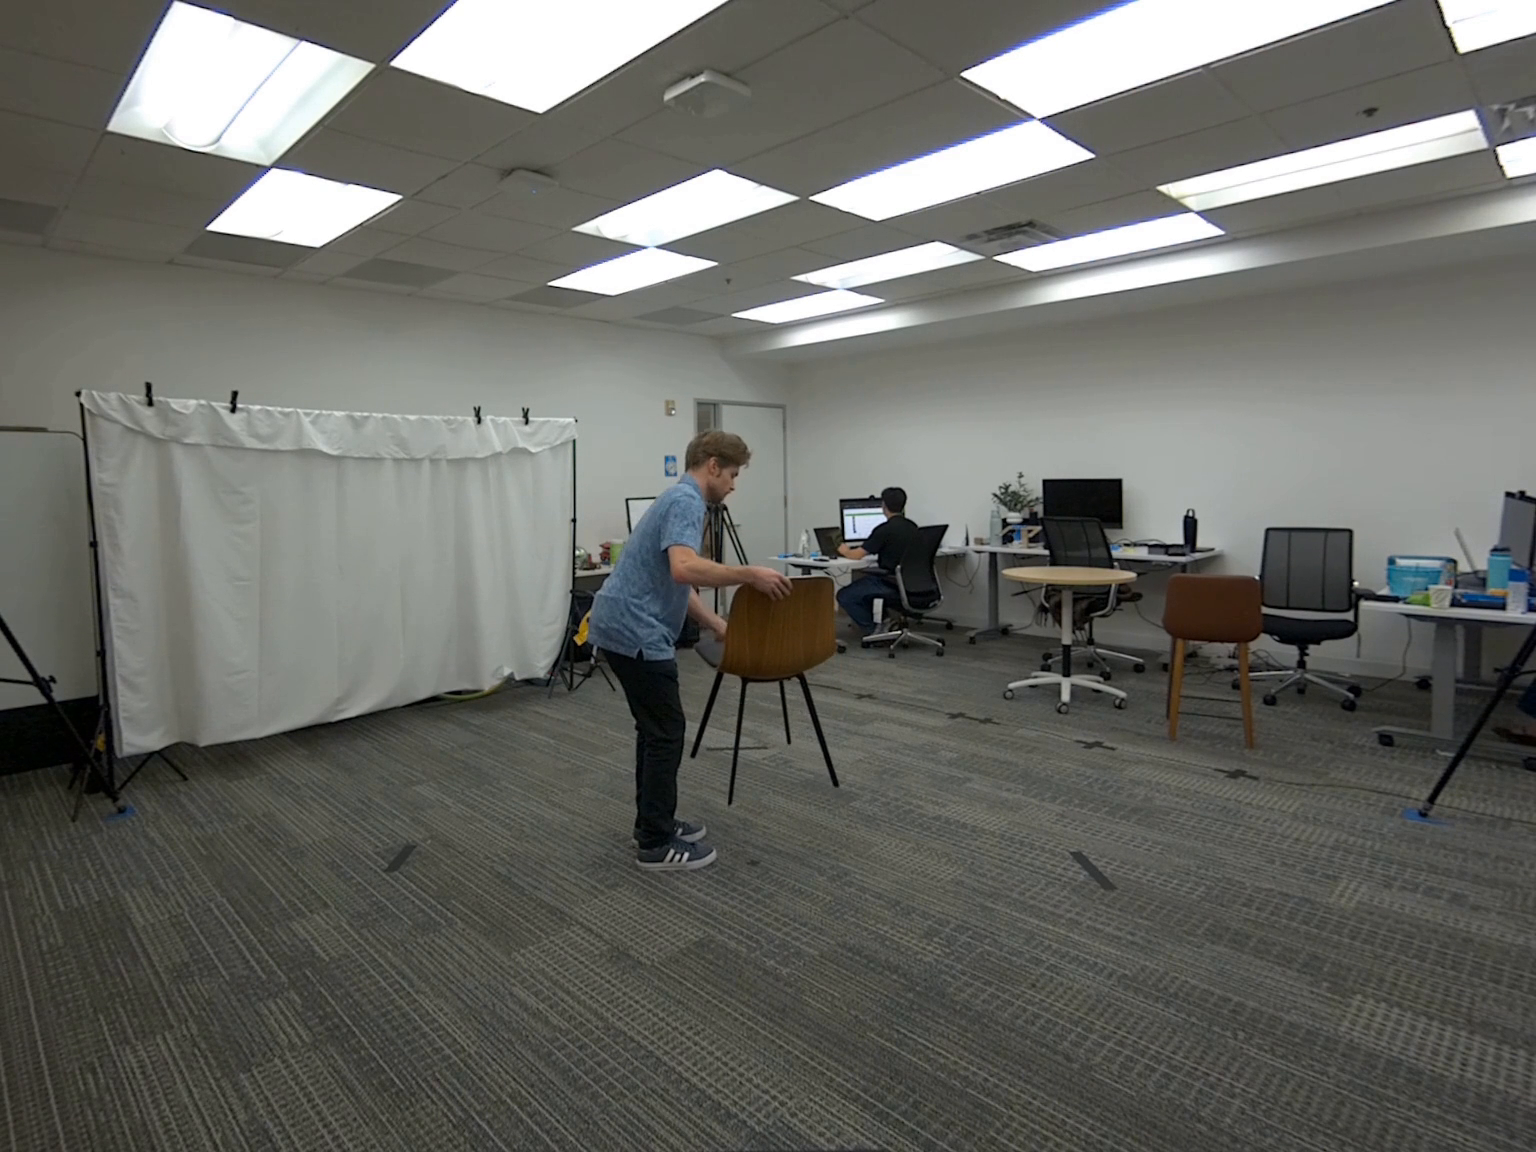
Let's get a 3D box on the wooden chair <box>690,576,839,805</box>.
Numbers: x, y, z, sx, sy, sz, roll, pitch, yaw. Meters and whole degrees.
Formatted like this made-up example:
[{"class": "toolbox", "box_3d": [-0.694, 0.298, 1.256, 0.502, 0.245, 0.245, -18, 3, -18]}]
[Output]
[{"class": "wooden chair", "box_3d": [-0.024, 0.358, 3.336, 0.469, 0.867, 0.539, -4, 14, -21]}]
